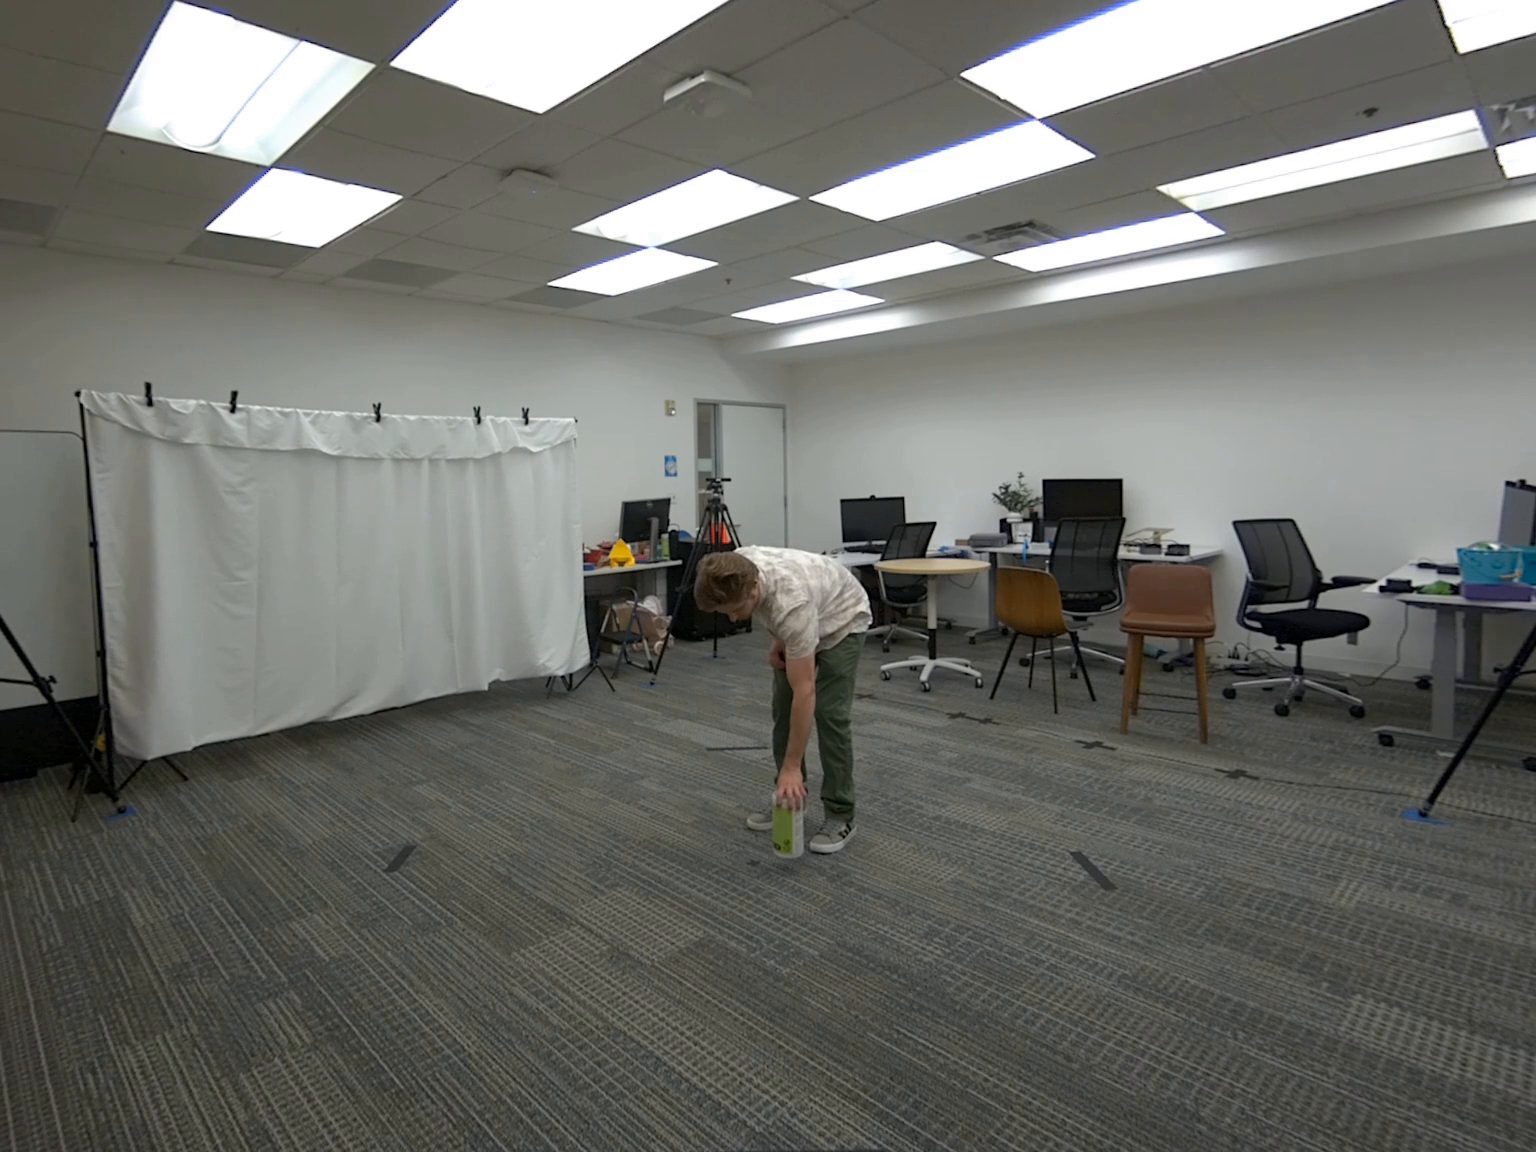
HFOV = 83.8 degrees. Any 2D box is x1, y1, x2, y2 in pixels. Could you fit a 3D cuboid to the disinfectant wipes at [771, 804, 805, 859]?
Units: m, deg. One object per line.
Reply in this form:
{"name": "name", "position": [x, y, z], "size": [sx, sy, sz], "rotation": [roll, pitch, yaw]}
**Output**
{"name": "disinfectant wipes", "position": [0.070, 0.885, 3.032], "size": [0.118, 0.216, 0.119], "rotation": [0, 7, -2]}
